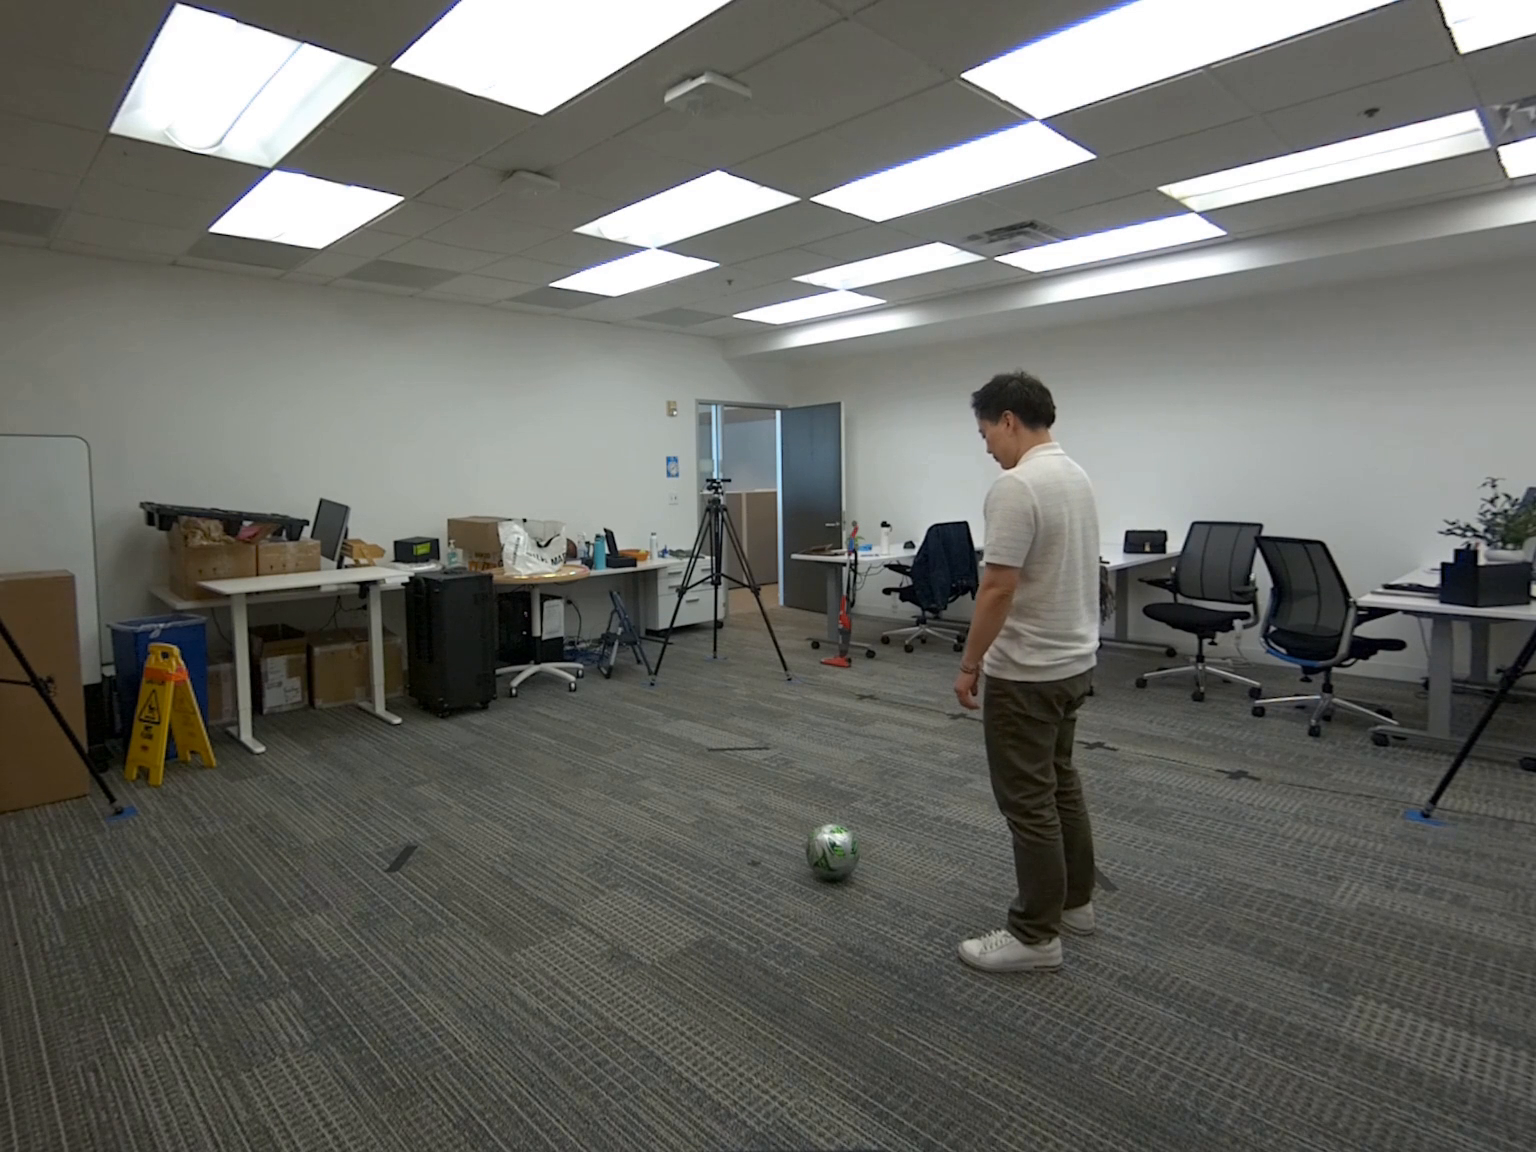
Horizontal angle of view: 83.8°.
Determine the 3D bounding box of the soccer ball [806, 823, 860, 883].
[{"bbox_3d":[0.225,0.960,2.983,0.187,0.187,0.188,-1,5,-2],"label":"soccer ball"}]
